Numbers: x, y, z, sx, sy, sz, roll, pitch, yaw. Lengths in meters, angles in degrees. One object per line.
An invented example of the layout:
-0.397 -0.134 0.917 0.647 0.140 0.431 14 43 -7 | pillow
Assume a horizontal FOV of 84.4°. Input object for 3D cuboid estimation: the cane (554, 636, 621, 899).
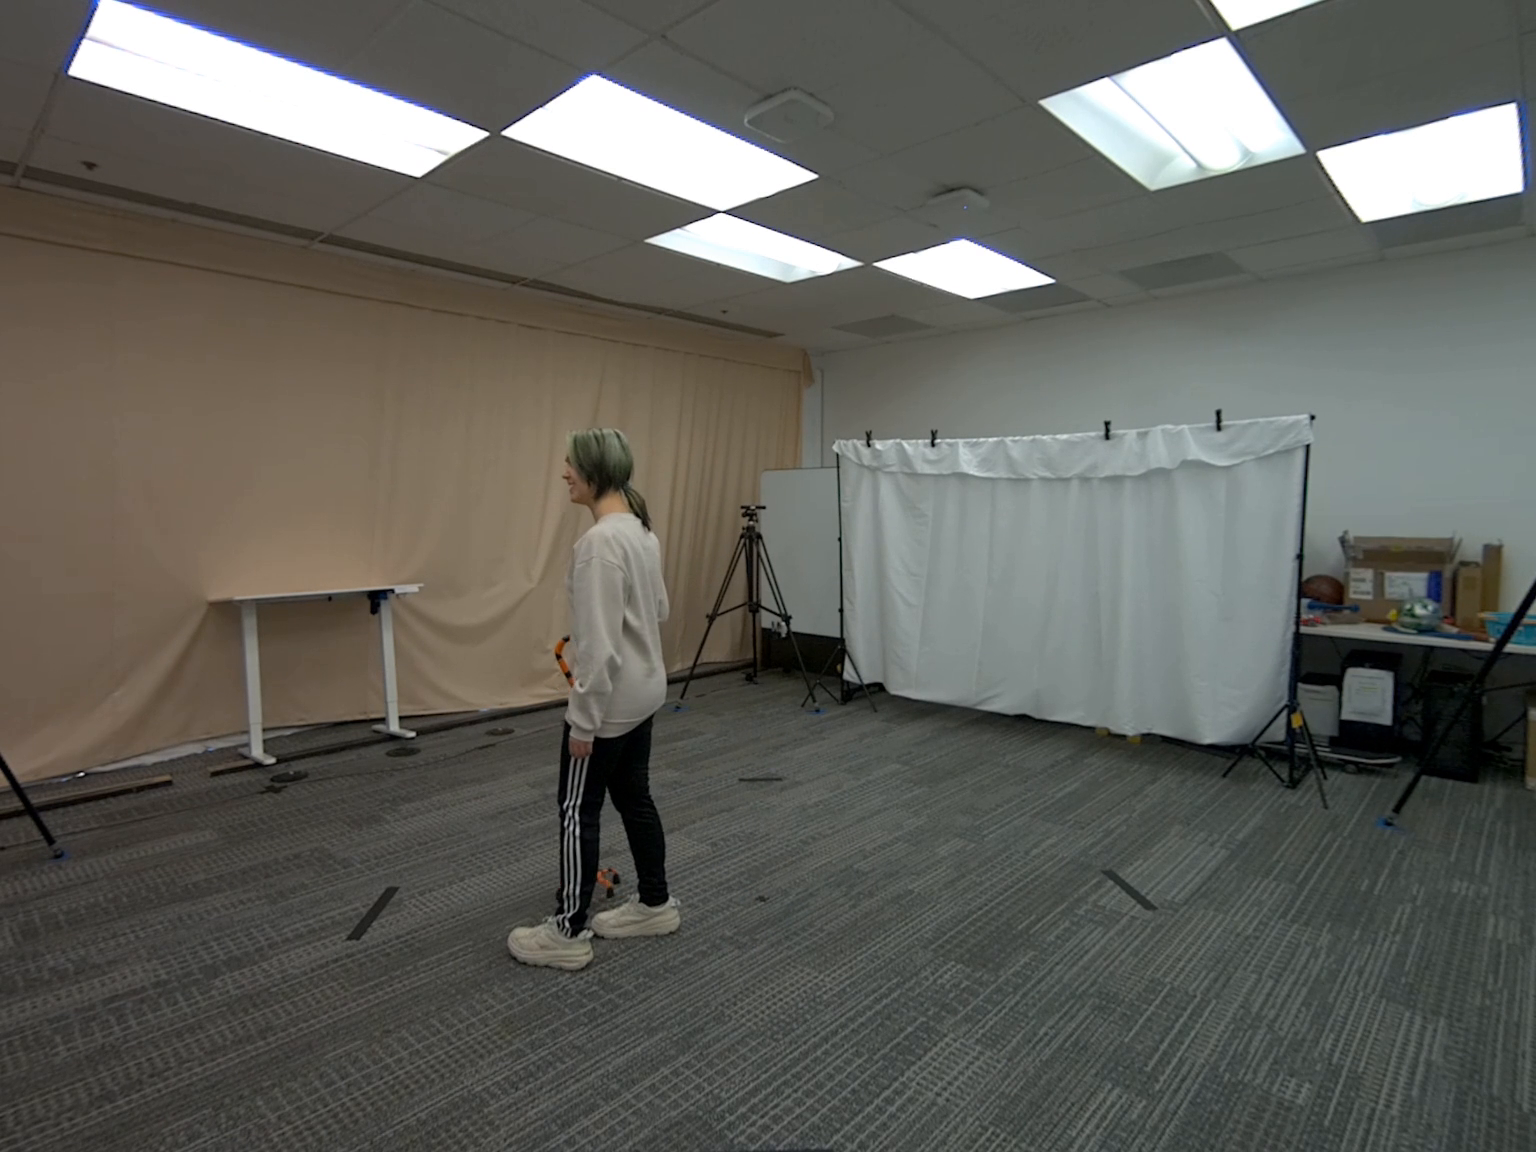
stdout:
-0.660 0.663 2.970 0.206 0.908 0.152 -3 -1 -4 | cane
